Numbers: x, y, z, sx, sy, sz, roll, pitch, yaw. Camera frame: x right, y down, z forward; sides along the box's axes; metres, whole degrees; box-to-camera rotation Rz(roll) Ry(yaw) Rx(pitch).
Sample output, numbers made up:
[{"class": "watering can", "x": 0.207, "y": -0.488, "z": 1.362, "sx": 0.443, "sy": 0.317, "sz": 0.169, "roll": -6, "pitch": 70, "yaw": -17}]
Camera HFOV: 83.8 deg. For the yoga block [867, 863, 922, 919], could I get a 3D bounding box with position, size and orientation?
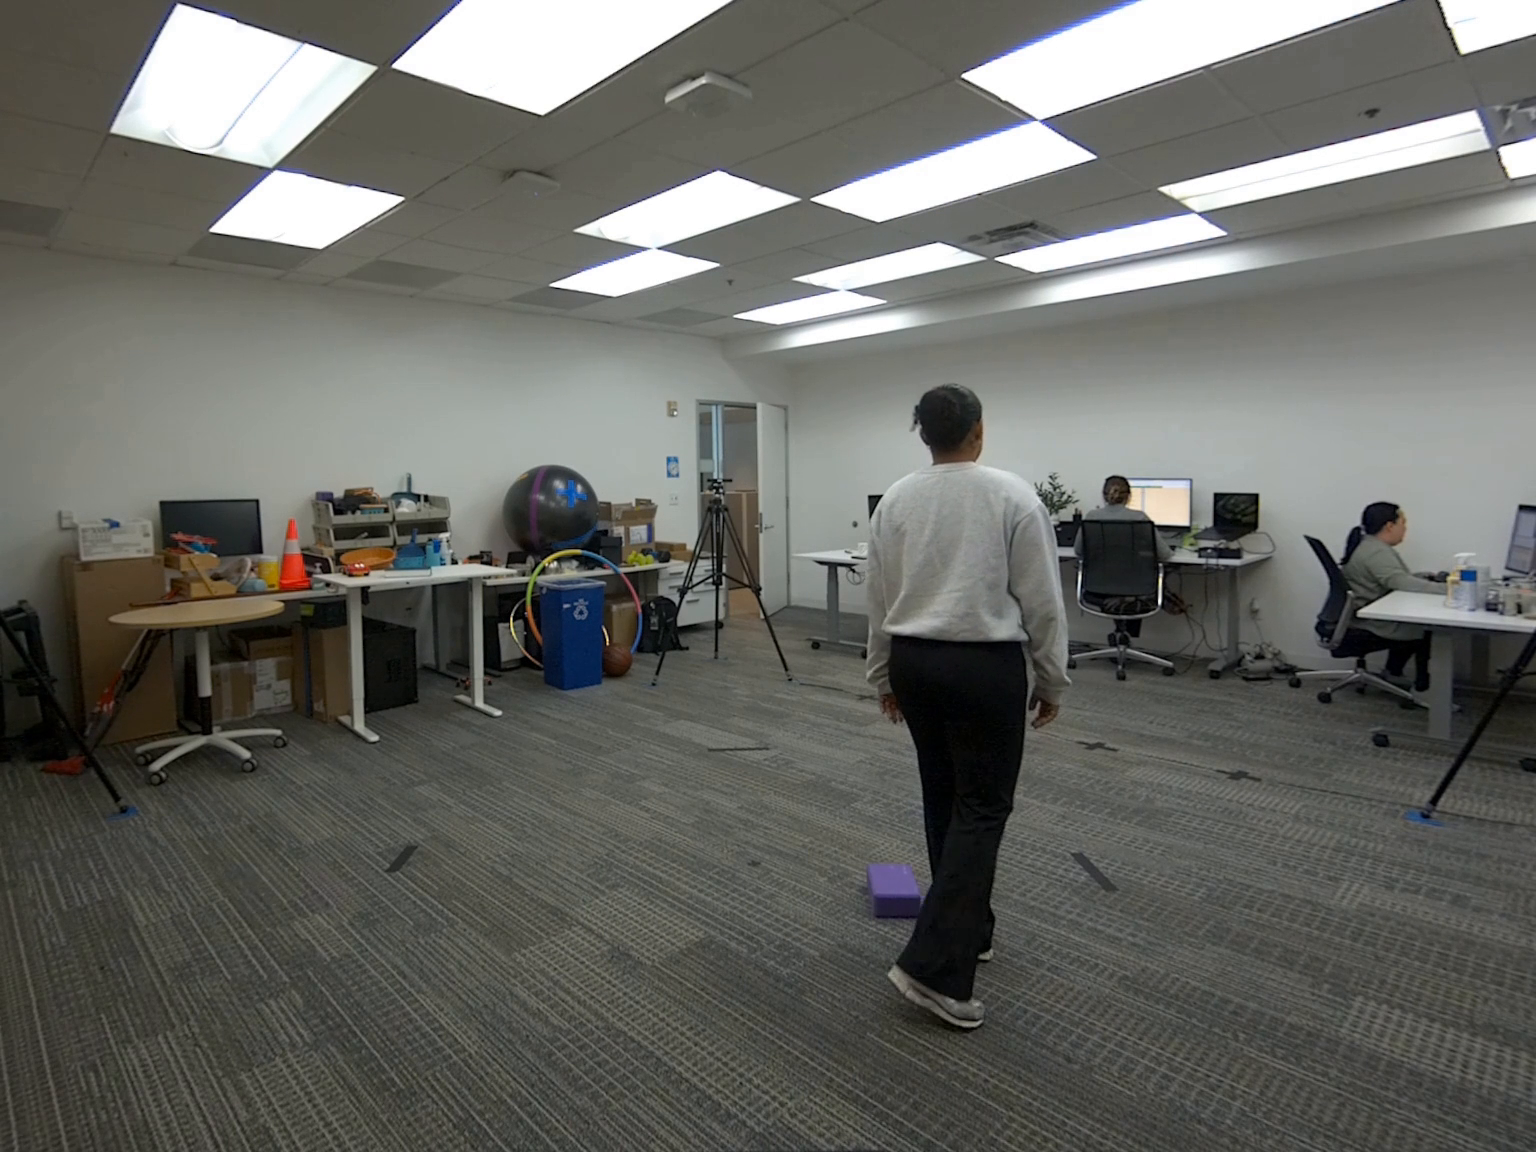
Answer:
[{"class": "yoga block", "x": 0.417, "y": 1.032, "z": 2.809, "sx": 0.149, "sy": 0.076, "sz": 0.230, "roll": -2, "pitch": 7, "yaw": 2}]
